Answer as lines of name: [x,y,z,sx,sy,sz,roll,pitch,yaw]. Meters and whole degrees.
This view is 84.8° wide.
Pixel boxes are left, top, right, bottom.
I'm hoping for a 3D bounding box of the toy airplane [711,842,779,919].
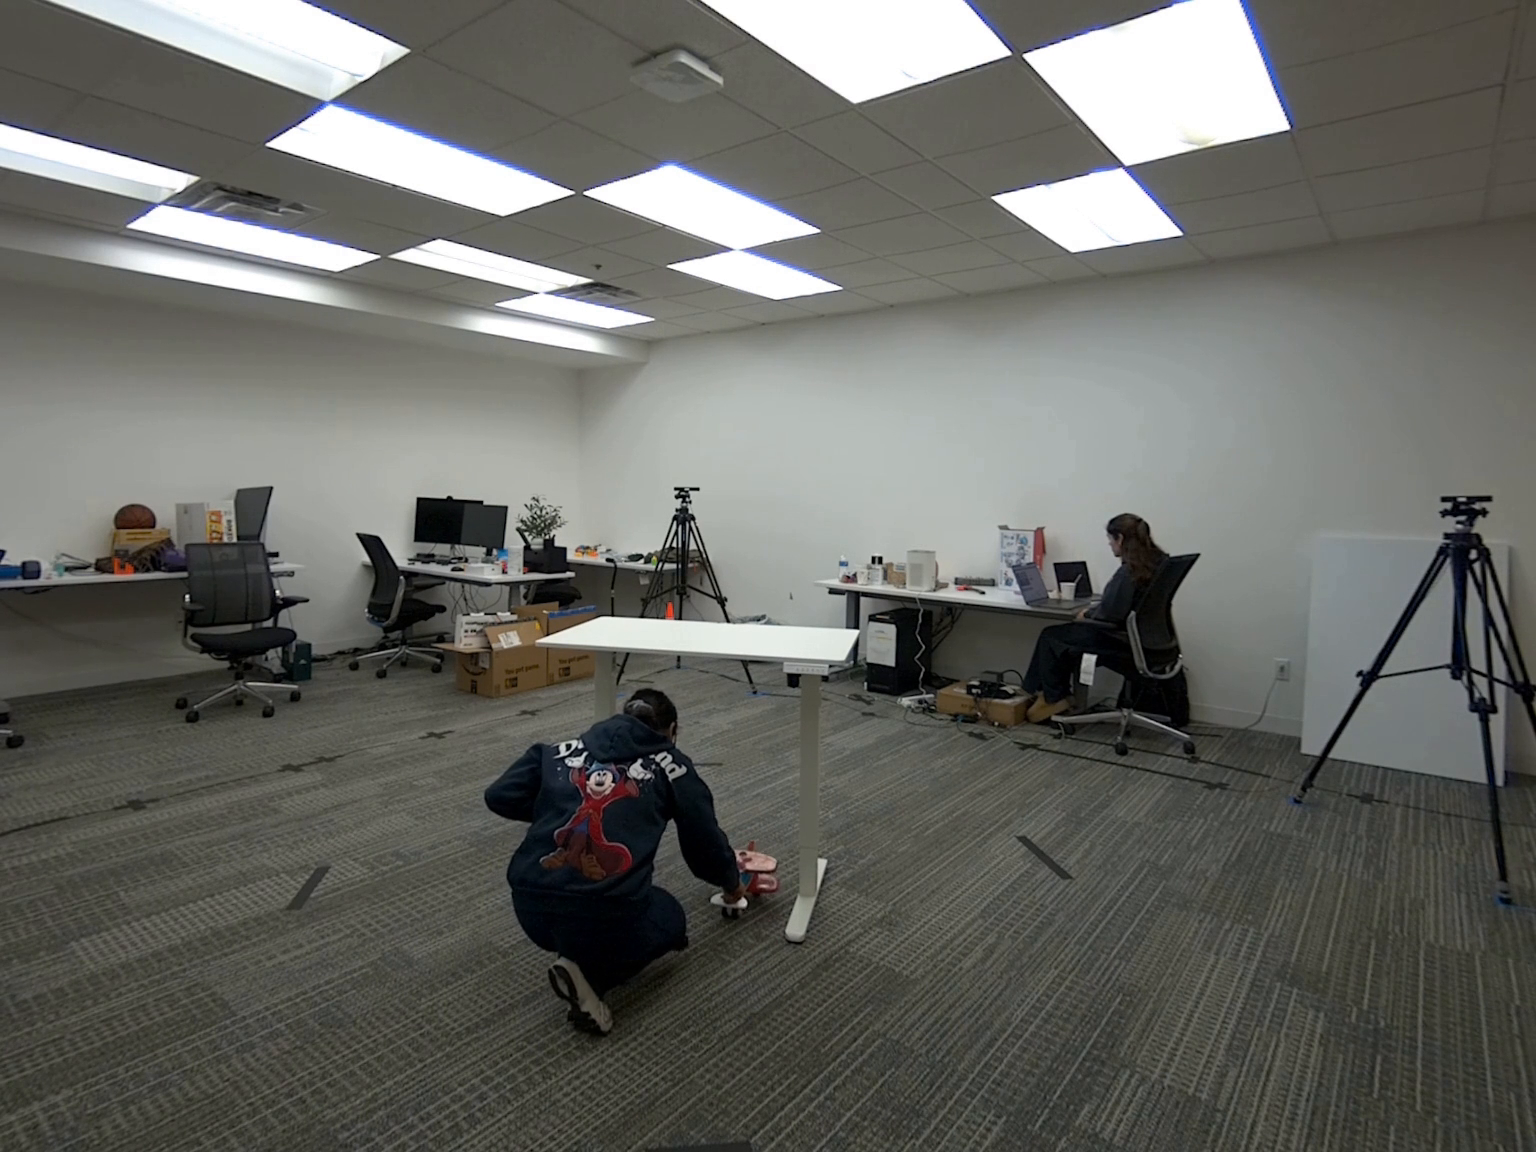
toy airplane: [-0.078,1.020,2.838,0.248,0.156,0.263,-1,3,-12]
